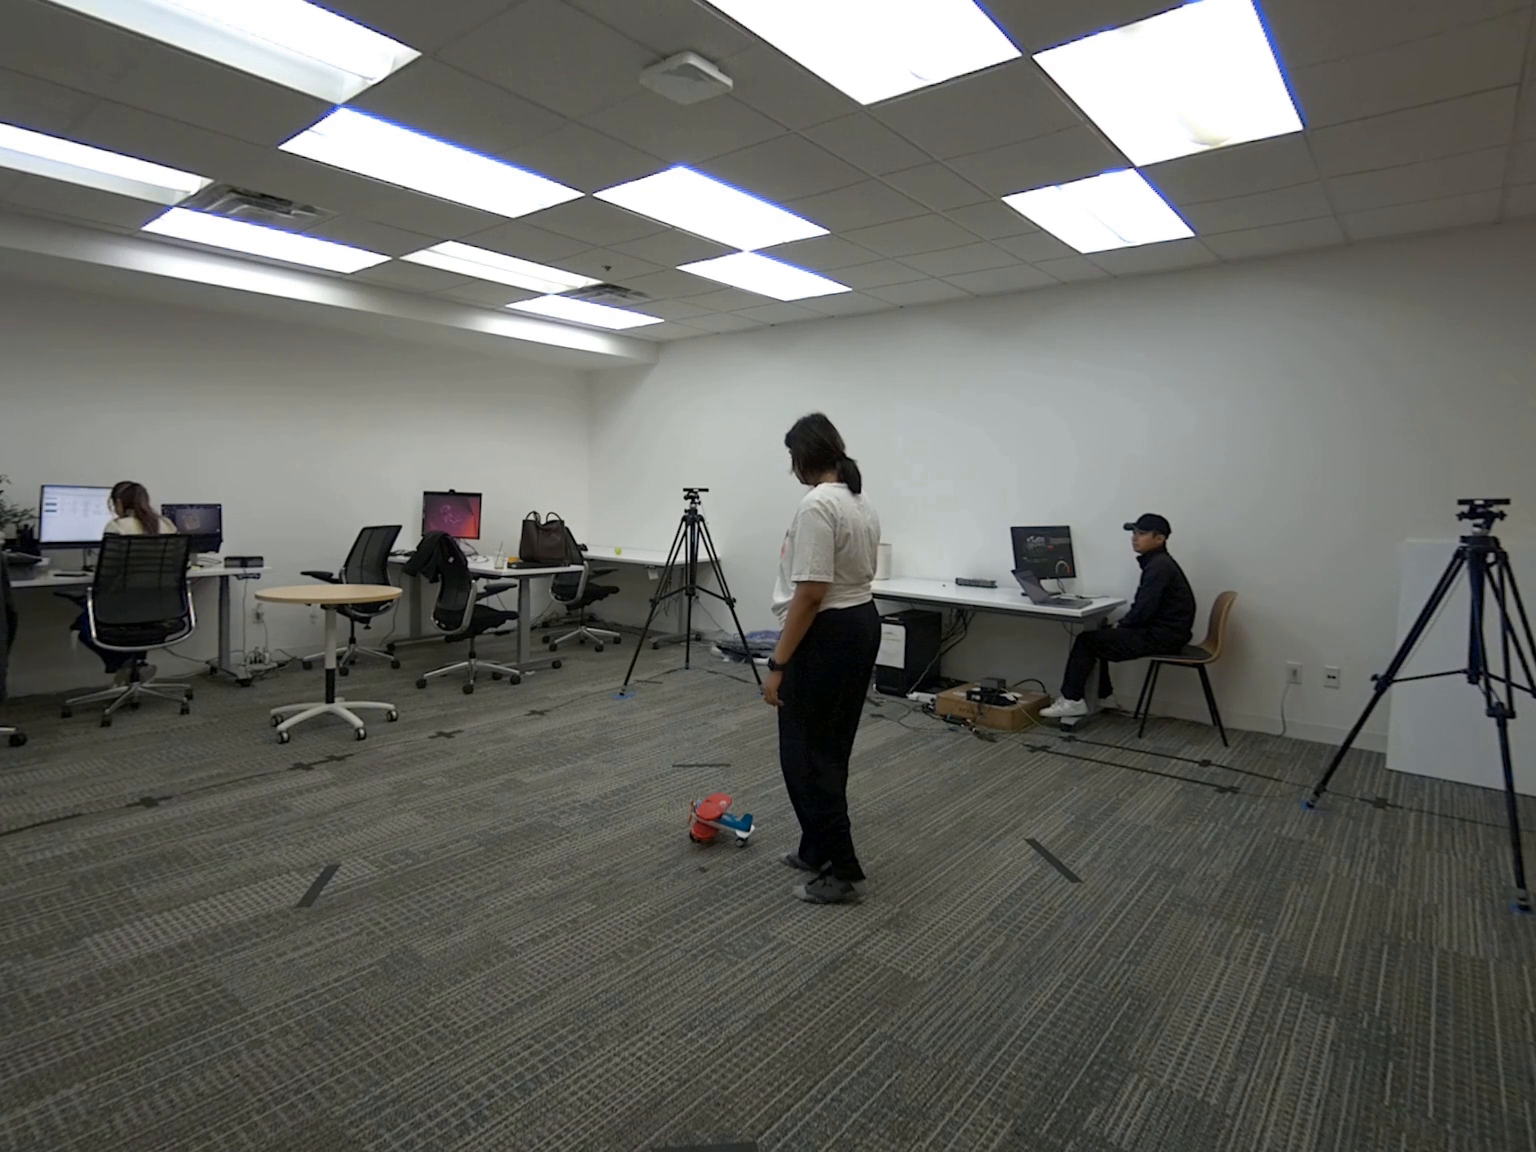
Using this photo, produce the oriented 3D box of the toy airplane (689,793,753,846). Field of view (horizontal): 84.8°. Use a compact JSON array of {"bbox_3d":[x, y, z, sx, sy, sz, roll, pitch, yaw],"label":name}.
[{"bbox_3d":[-0.193,0.967,3.378,0.257,0.156,0.254,-1,5,-8],"label":"toy airplane"}]
